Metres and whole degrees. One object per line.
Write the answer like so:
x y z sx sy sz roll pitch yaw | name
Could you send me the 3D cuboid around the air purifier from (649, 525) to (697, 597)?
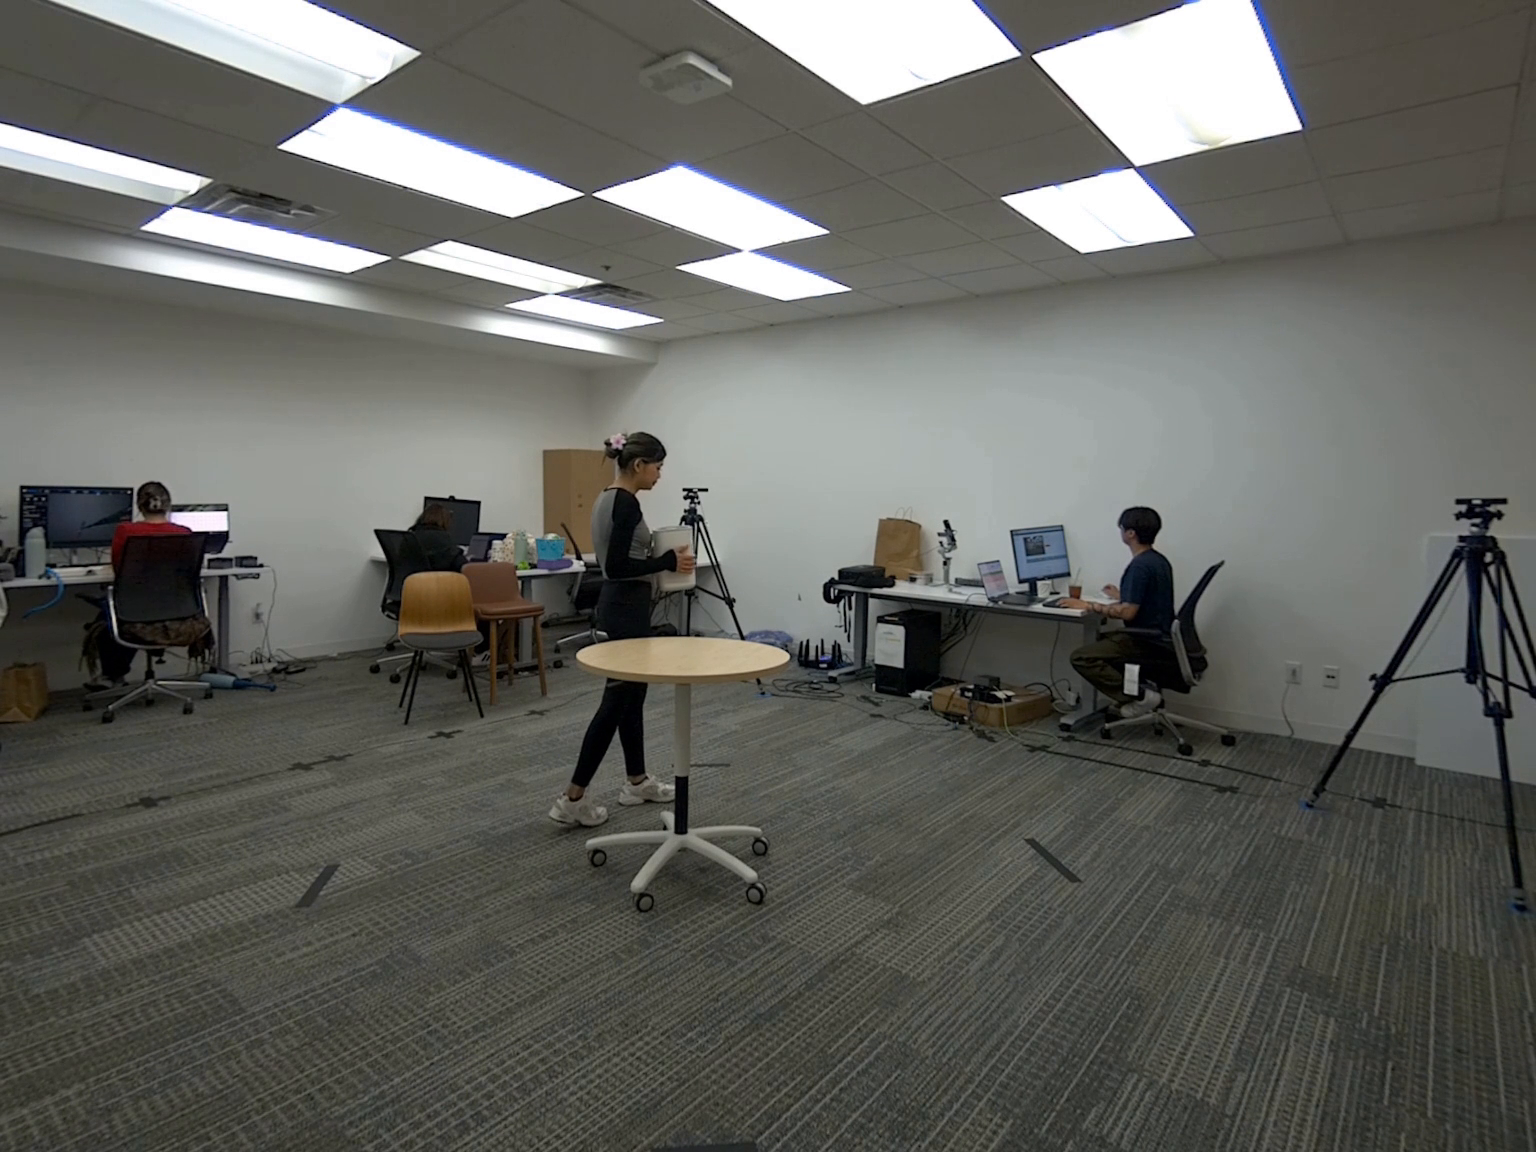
-0.425 -0.071 3.687 0.170 0.263 0.174 -6 10 -9 | air purifier
